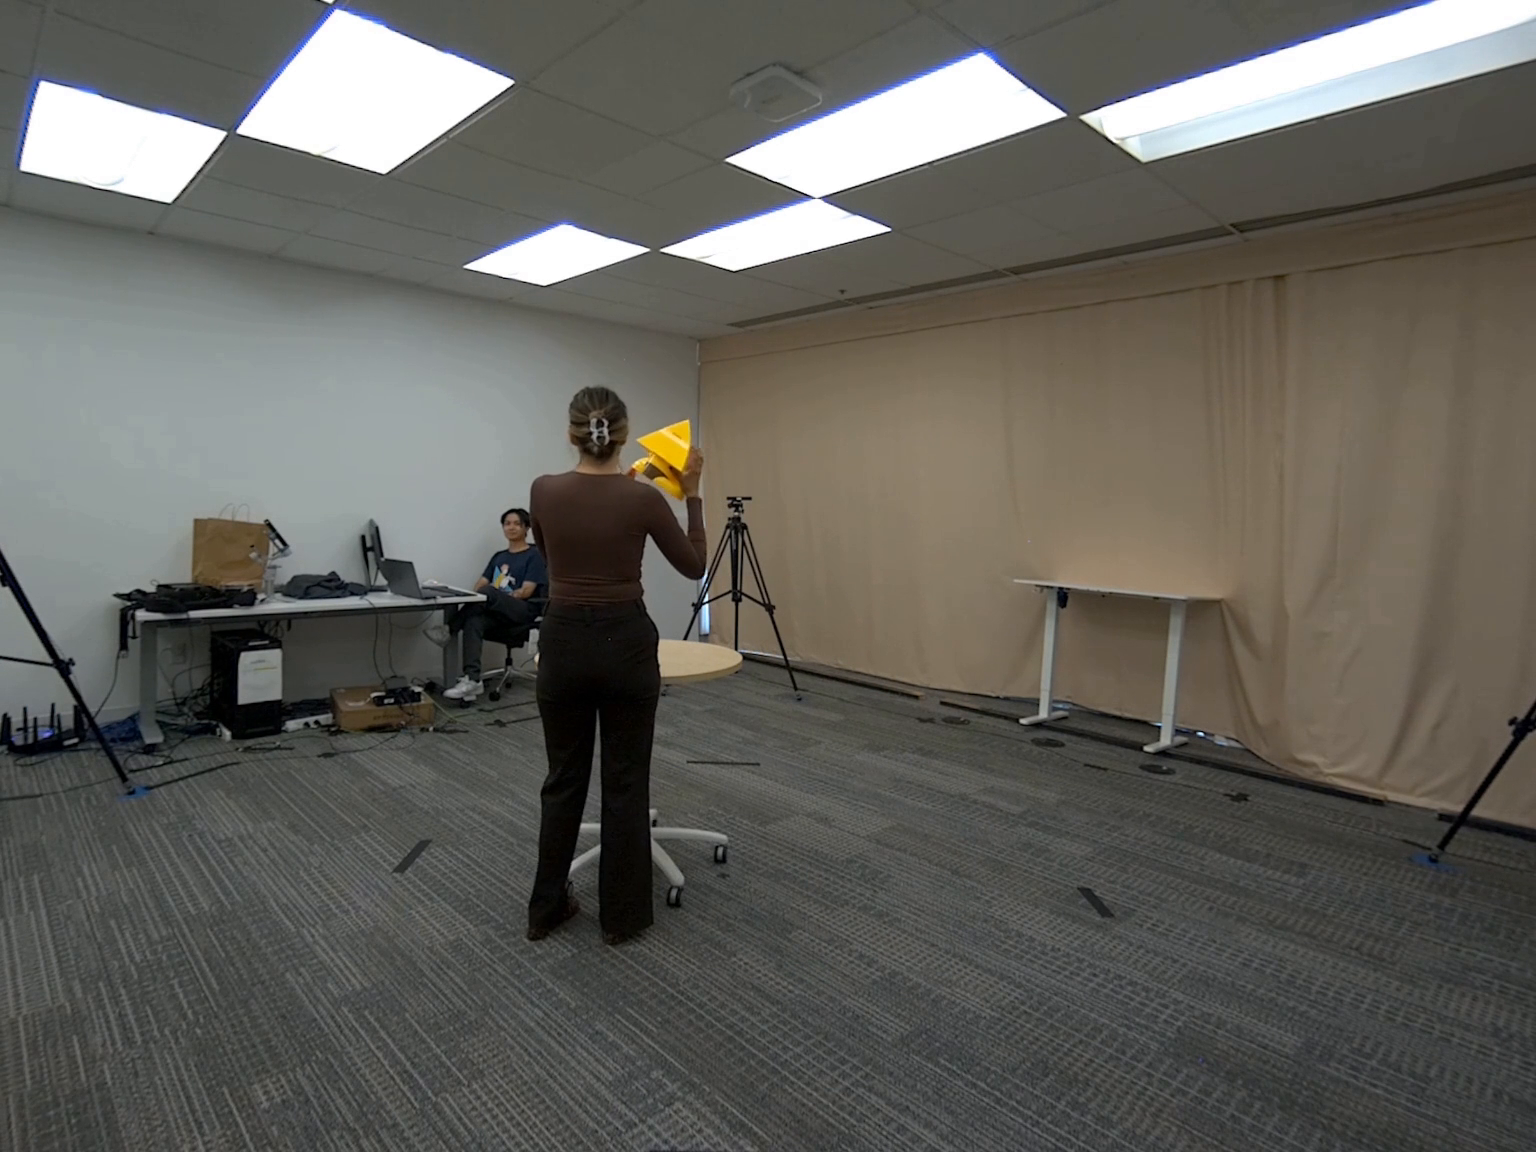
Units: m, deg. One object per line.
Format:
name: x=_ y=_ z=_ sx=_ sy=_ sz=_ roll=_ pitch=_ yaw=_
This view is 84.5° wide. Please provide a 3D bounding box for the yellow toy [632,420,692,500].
yellow toy: x=-0.315 y=-0.398 z=2.779 sx=0.210 sy=0.230 sz=0.188 roll=35 pitch=2 yaw=23
